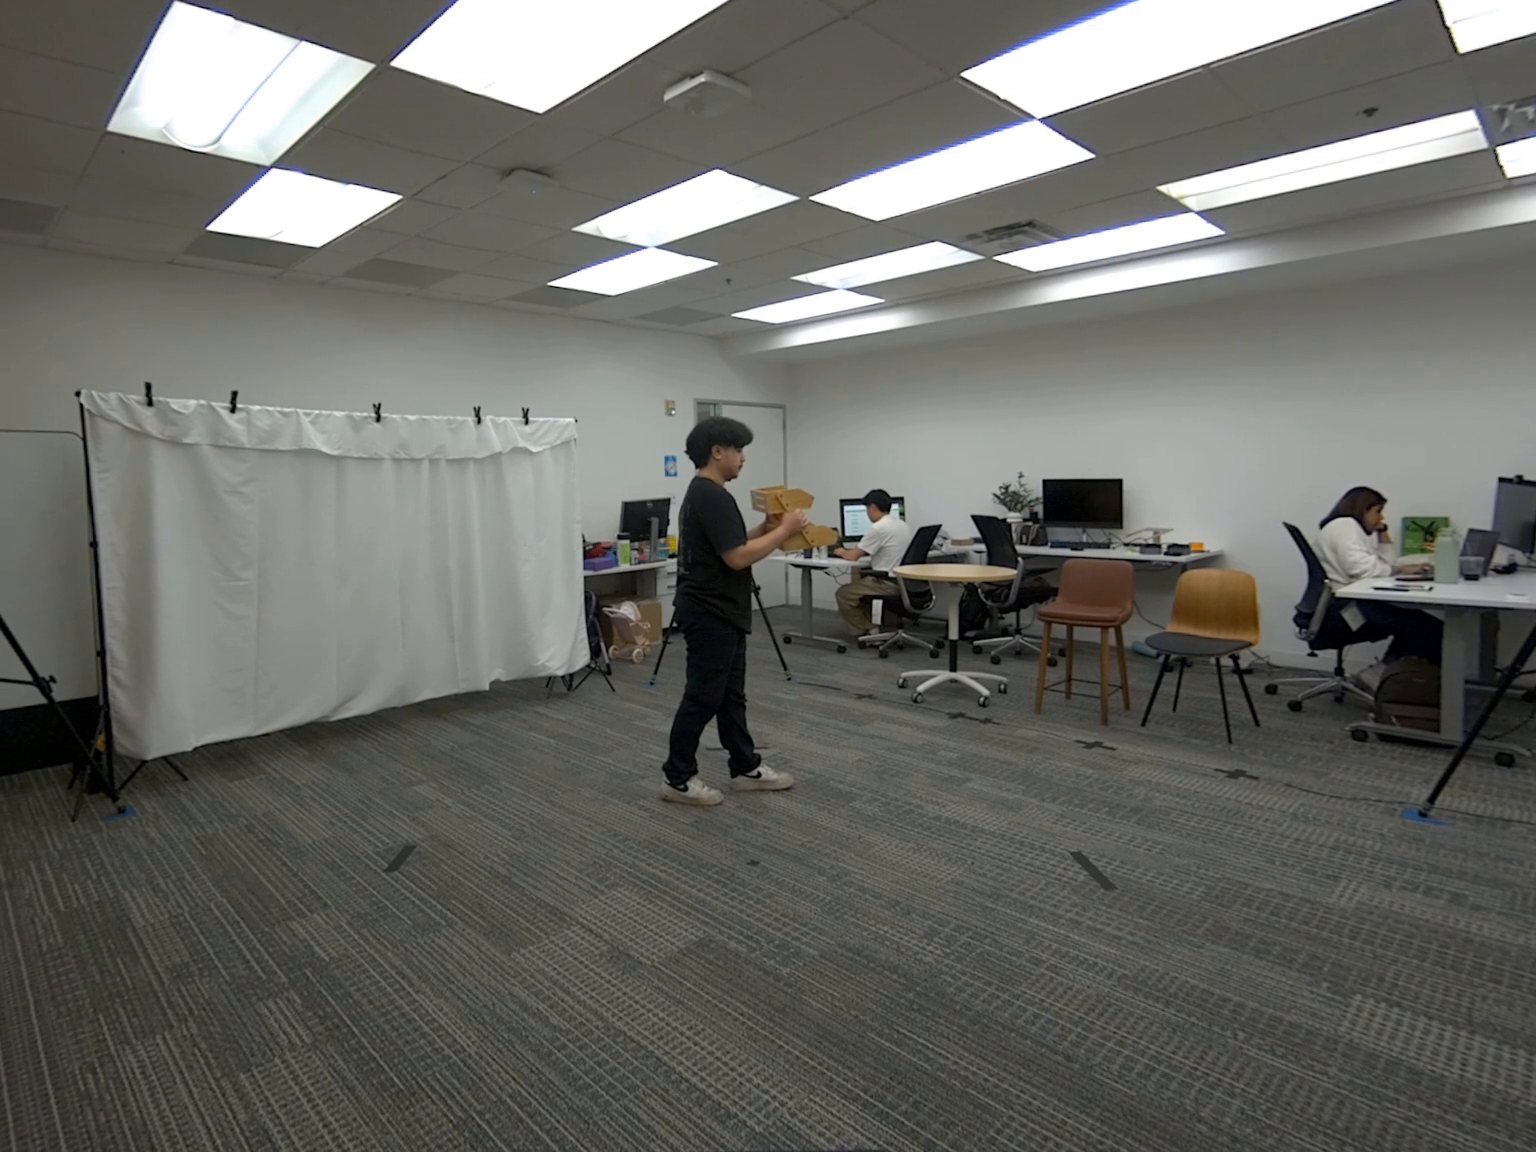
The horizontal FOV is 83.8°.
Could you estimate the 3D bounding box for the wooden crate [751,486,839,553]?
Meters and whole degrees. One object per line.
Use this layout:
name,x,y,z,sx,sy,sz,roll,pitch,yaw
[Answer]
wooden crate,0.110,-0.269,3.767,0.300,0.271,0.330,-9,9,-10
